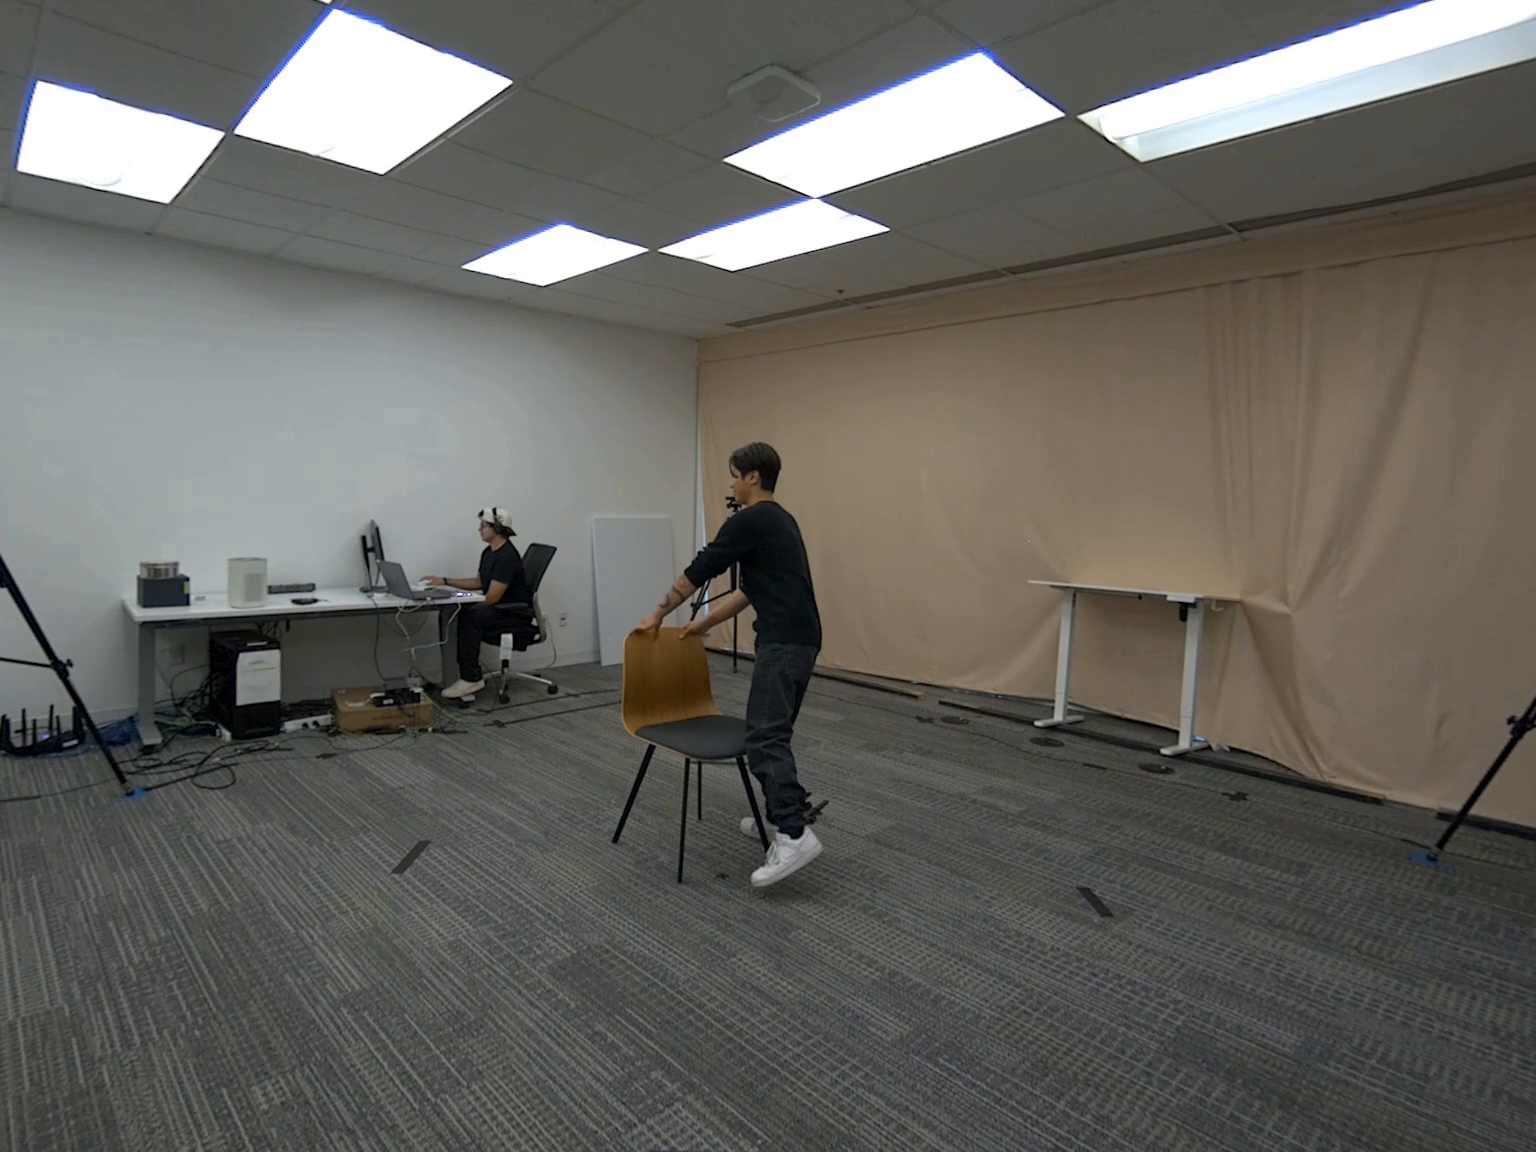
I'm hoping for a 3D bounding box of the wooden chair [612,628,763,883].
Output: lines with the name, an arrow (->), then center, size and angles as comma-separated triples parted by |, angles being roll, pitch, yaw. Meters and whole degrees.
wooden chair -> -0.297, 0.652, 3.311 | 0.467, 0.878, 0.535 | -1, -1, -41
